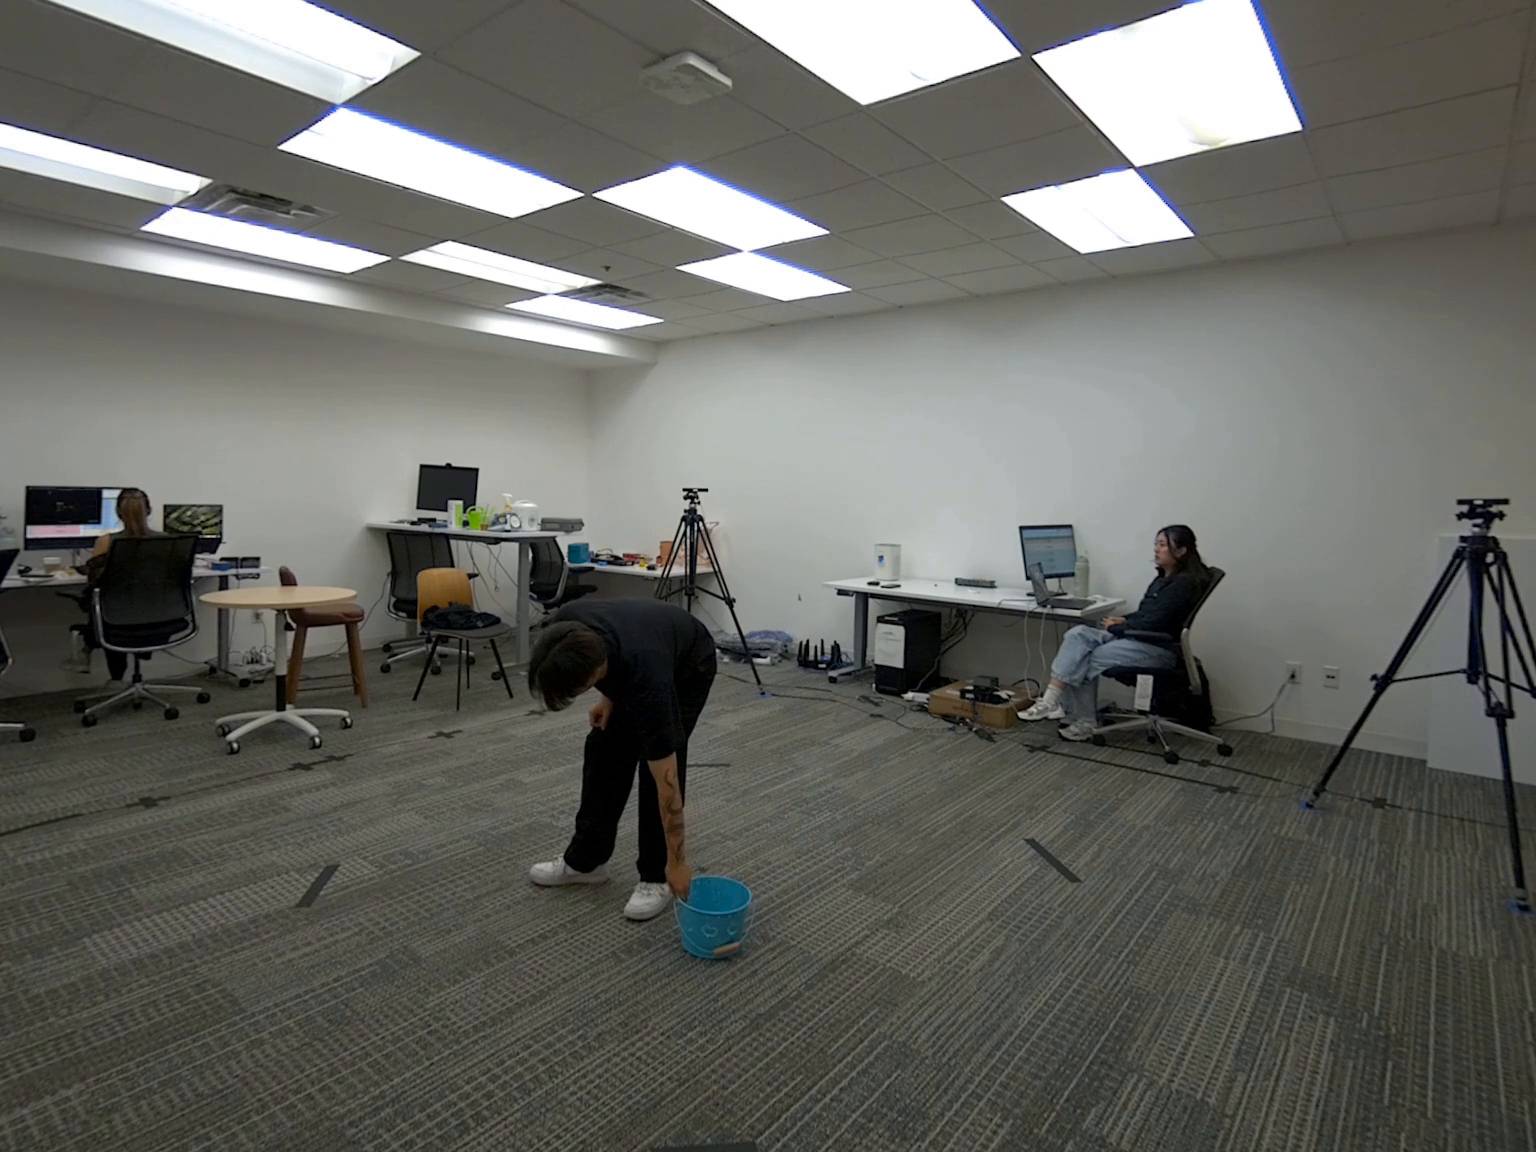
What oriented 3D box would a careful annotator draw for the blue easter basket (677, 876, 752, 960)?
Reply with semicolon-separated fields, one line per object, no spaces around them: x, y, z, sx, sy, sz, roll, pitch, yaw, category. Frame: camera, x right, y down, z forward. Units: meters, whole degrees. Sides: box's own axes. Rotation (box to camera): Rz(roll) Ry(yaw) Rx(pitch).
-0.180;1.040;2.602;0.243;0.155;0.245;2;5;-2;blue easter basket
